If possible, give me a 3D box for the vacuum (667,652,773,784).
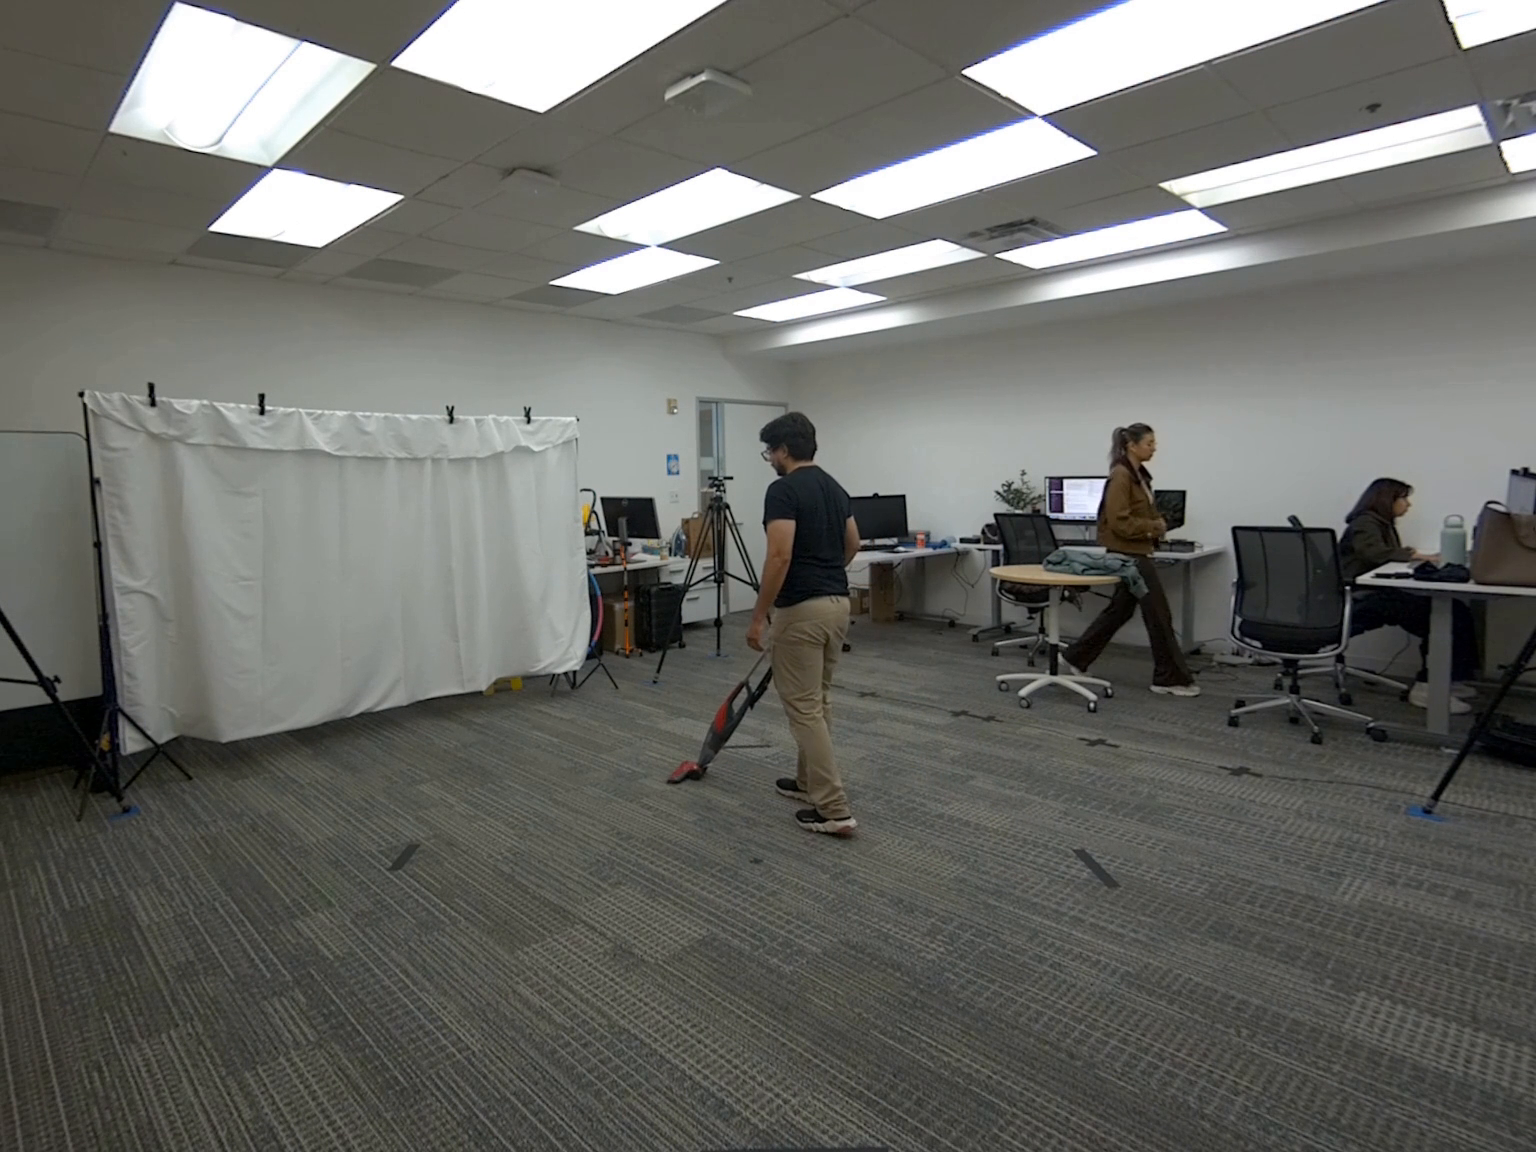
[{"bbox_3d":[-0.081,0.514,3.916,0.146,1.046,0.249,37,13,11],"label":"vacuum"}]
